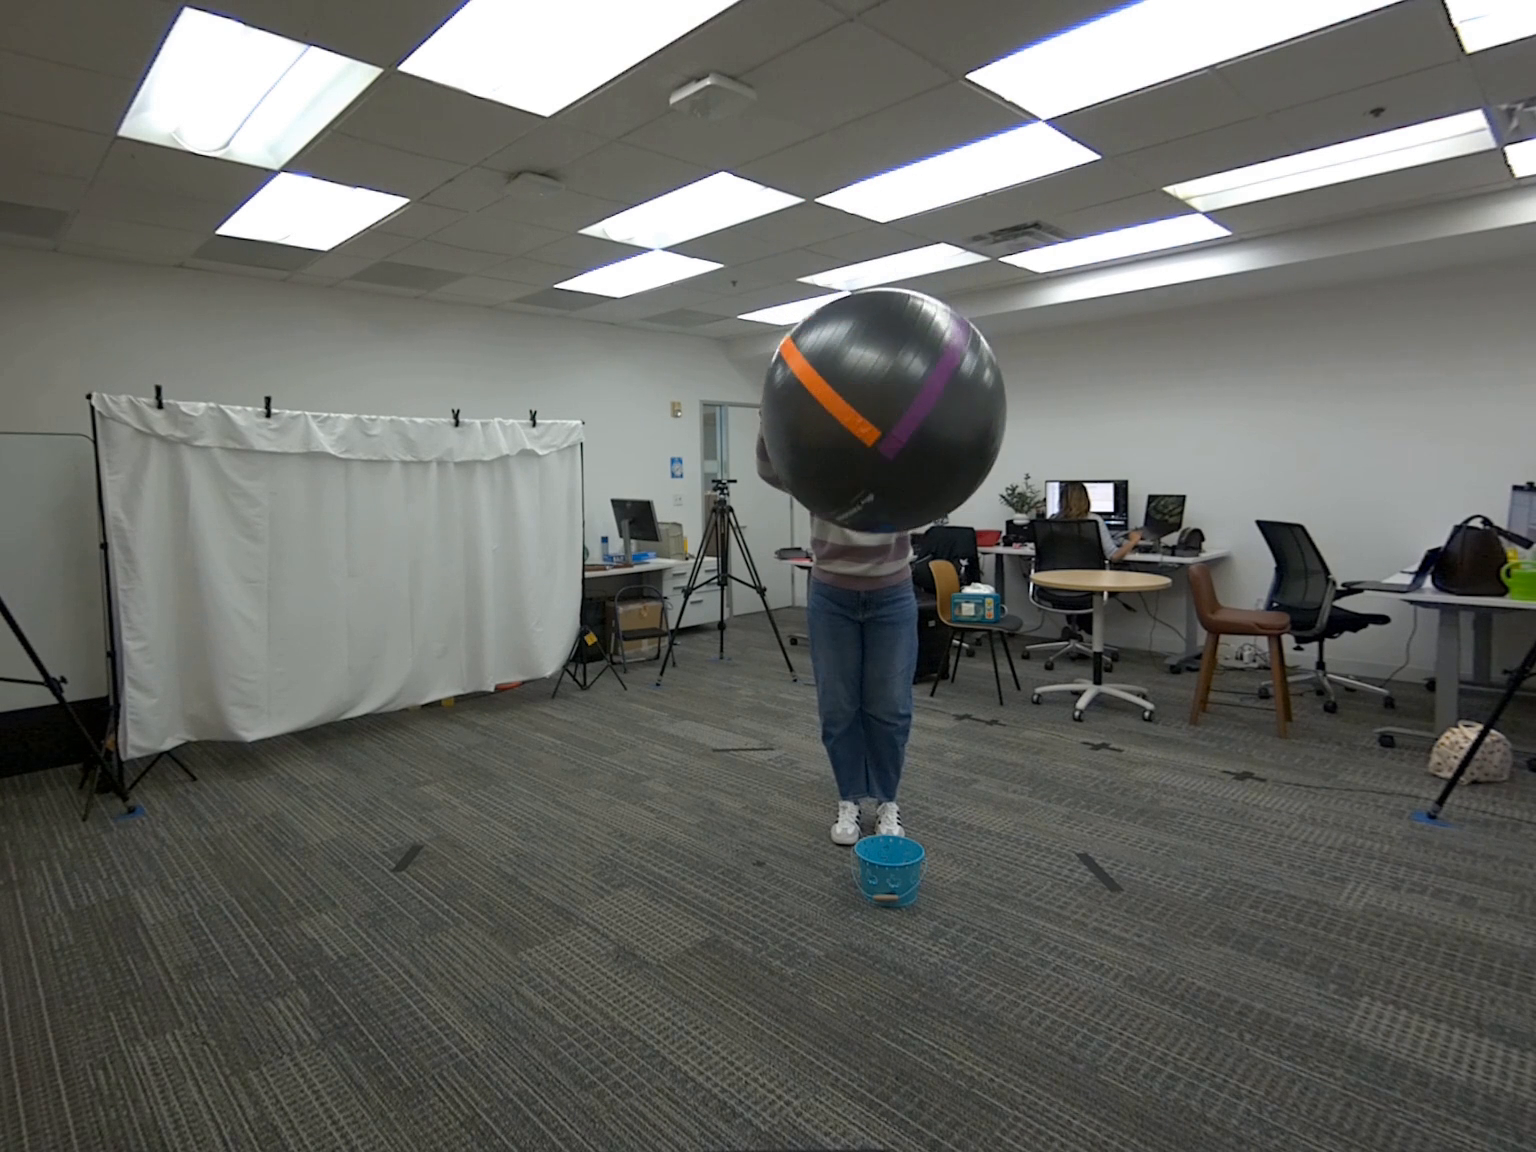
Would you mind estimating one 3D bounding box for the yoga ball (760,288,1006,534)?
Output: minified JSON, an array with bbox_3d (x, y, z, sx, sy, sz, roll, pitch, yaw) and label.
[{"bbox_3d":[0.360,-0.507,2.683,0.757,0.755,0.762,-1,5,-2],"label":"yoga ball"}]
